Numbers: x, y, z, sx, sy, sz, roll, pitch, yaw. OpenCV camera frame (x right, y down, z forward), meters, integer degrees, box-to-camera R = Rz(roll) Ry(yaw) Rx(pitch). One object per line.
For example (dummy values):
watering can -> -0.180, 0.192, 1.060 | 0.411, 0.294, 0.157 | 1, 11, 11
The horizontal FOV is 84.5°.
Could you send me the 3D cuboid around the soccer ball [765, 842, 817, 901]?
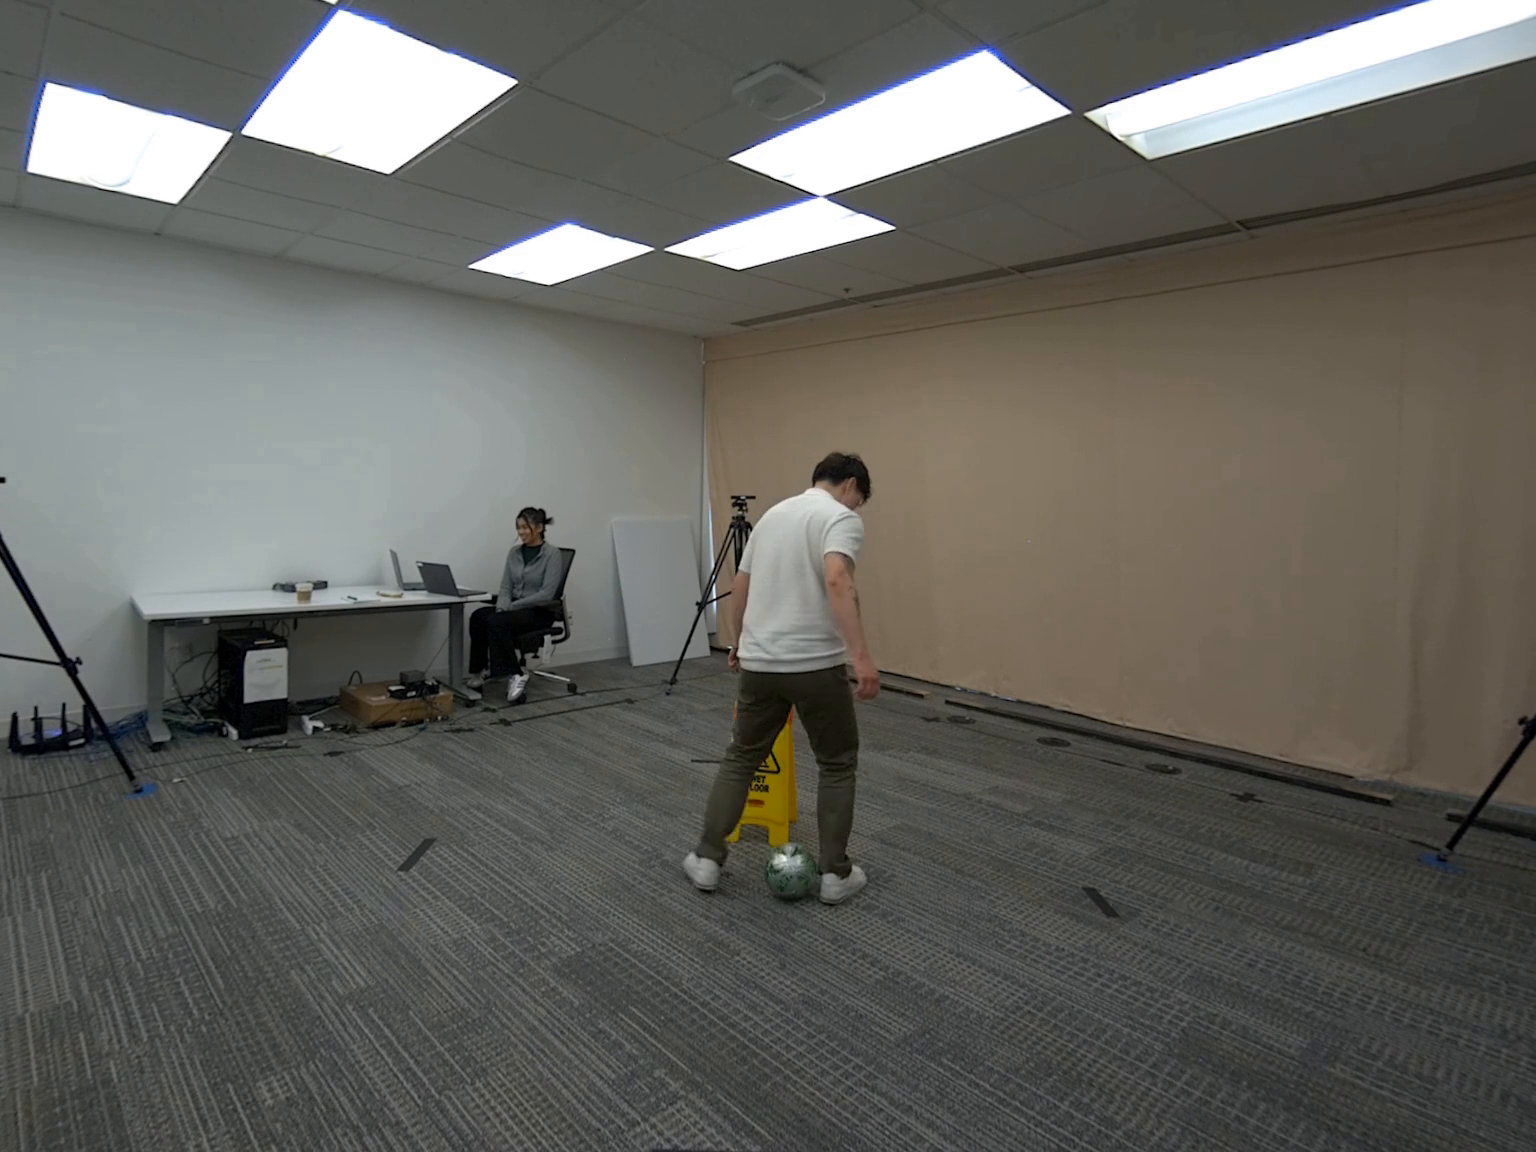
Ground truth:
soccer ball -> 0.075, 1.019, 2.940 | 0.187, 0.187, 0.188 | 1, 4, -1
